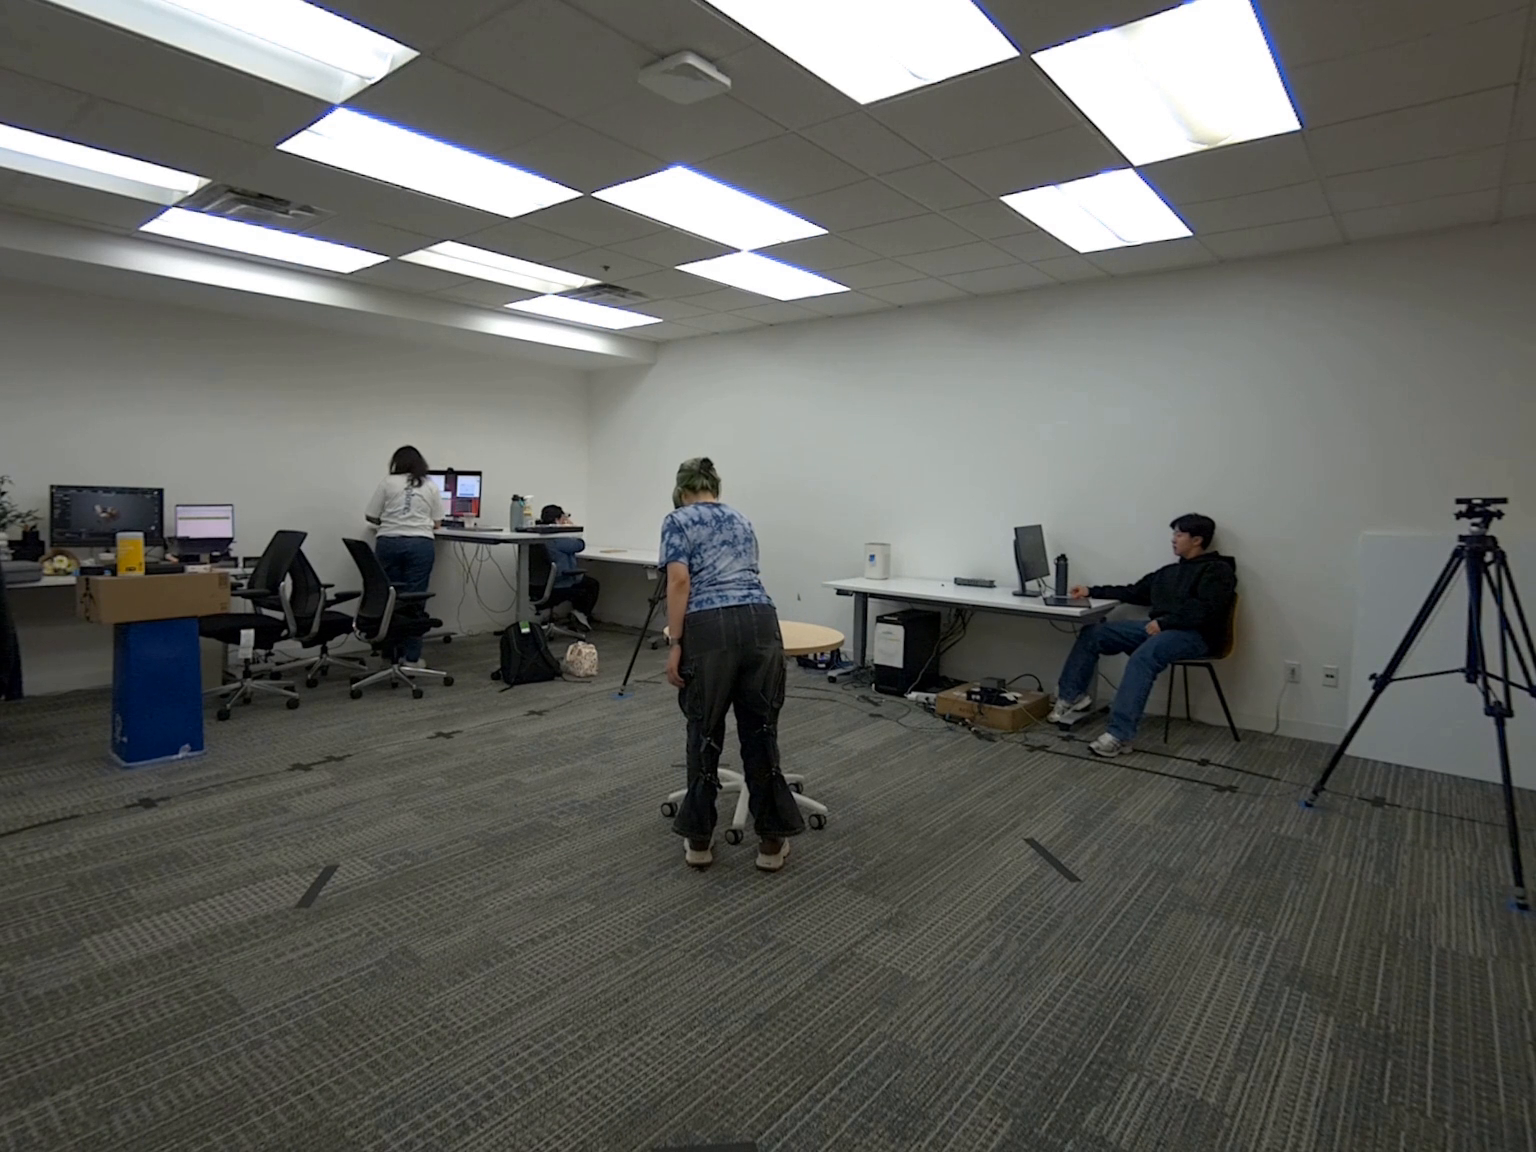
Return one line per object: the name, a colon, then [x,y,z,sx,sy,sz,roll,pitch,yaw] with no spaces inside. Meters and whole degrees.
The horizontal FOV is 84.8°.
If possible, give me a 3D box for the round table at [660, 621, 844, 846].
round table: [-0.070,0.626,3.628,0.784,0.784,0.789,1,4,-2]
